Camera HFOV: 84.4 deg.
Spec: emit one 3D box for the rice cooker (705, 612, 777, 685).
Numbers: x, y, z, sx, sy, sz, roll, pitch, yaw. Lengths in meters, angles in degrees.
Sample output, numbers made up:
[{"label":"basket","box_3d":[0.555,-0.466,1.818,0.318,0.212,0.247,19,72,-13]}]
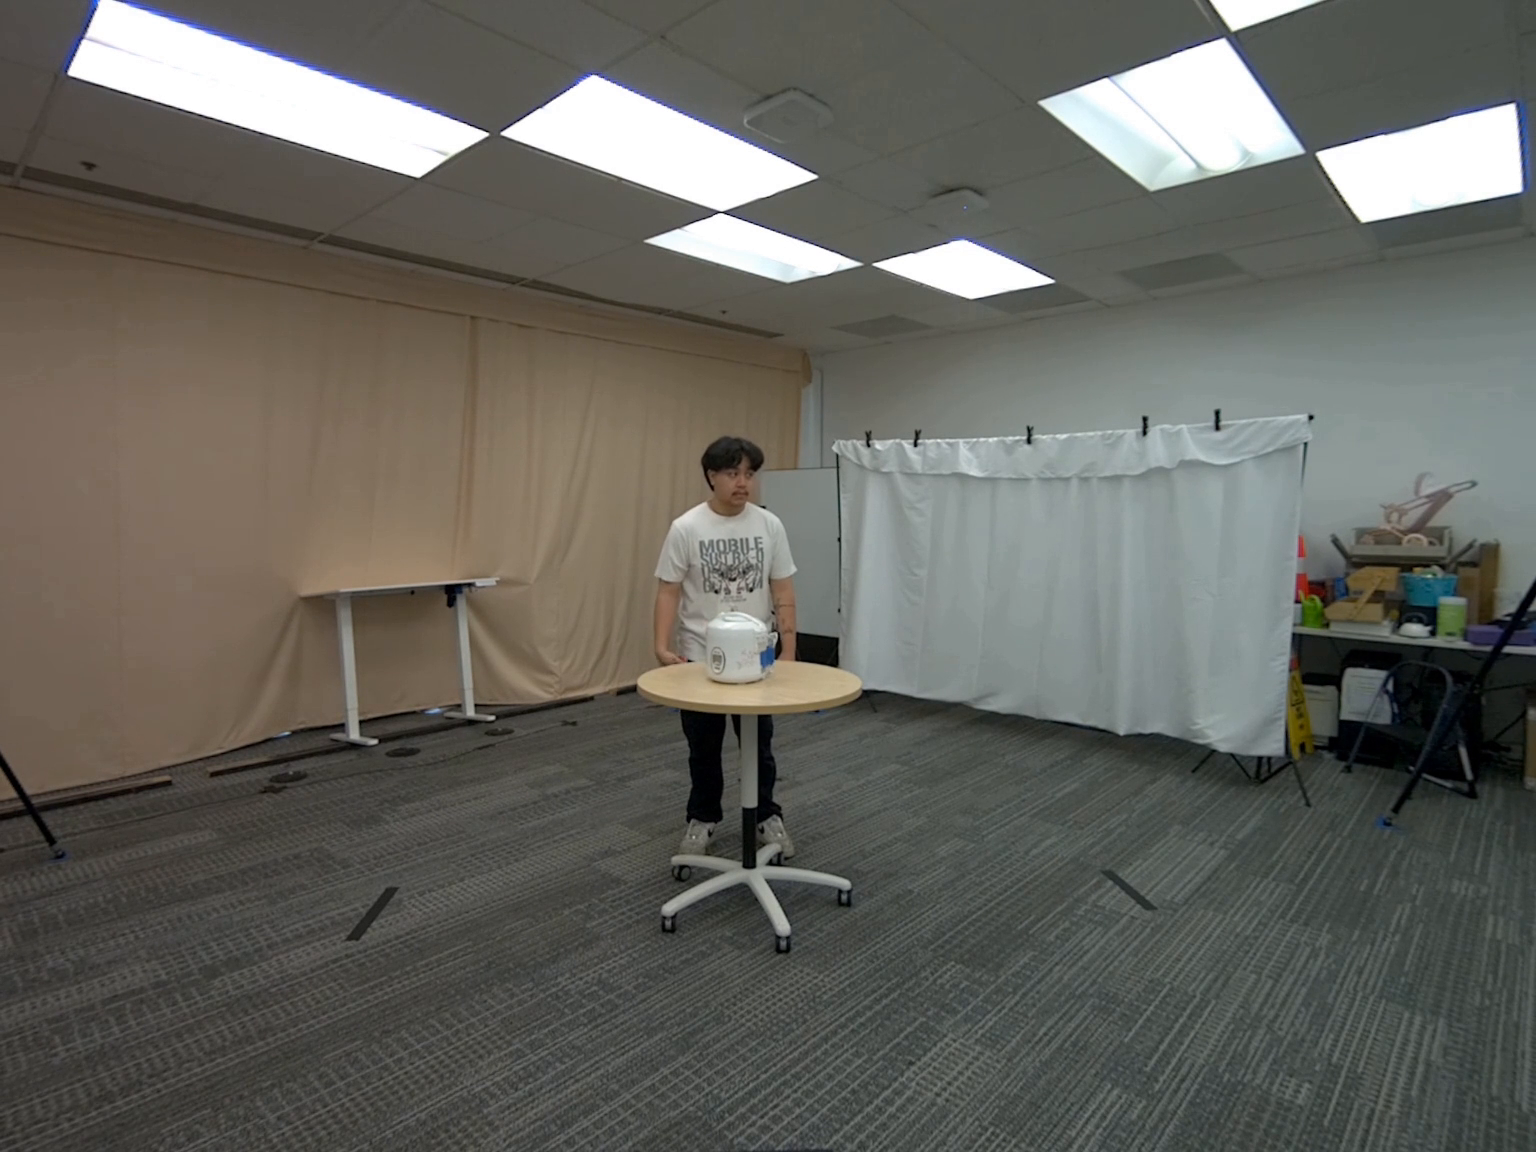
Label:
[{"label":"rice cooker","box_3d":[-0.110,0.232,2.884,0.228,0.232,0.211,4,5,36]}]
